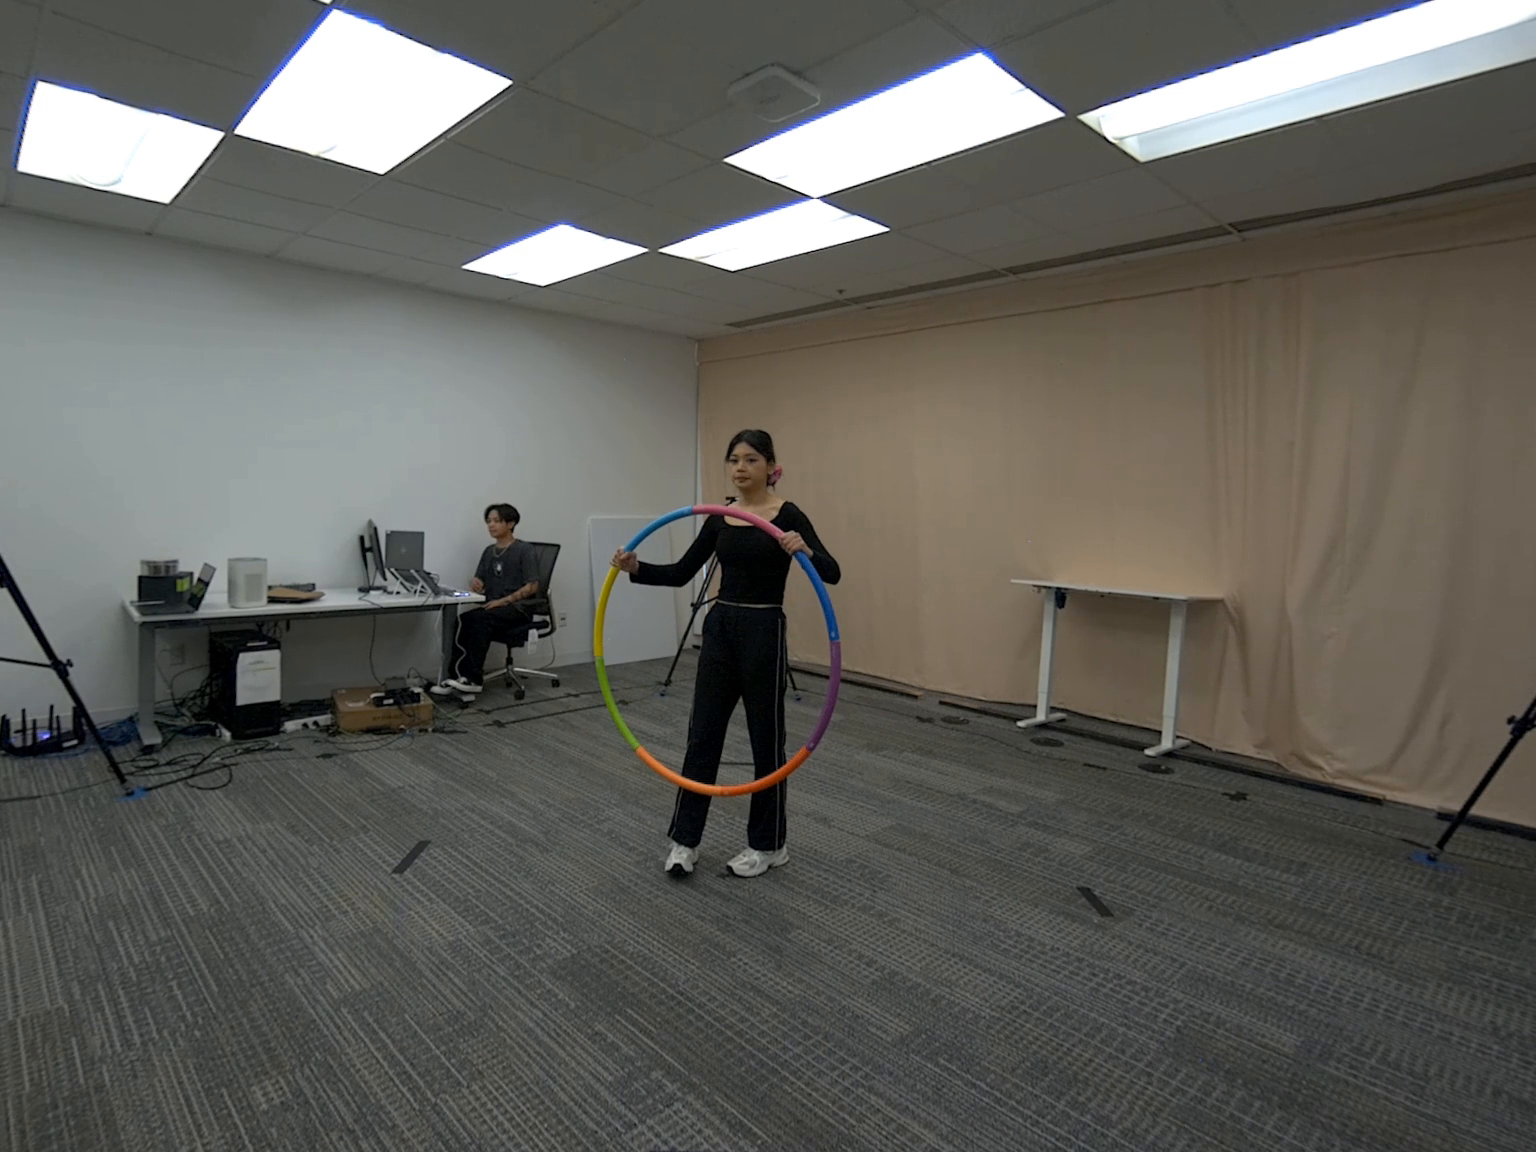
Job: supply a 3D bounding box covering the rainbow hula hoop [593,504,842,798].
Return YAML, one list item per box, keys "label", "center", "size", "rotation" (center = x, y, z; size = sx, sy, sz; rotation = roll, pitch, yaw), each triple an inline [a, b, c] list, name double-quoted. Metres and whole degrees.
- label: "rainbow hula hoop"
  center: [-0.211, 0.255, 2.905]
  size: [0.999, 0.977, 0.035]
  rotation: [4, 3, 29]
